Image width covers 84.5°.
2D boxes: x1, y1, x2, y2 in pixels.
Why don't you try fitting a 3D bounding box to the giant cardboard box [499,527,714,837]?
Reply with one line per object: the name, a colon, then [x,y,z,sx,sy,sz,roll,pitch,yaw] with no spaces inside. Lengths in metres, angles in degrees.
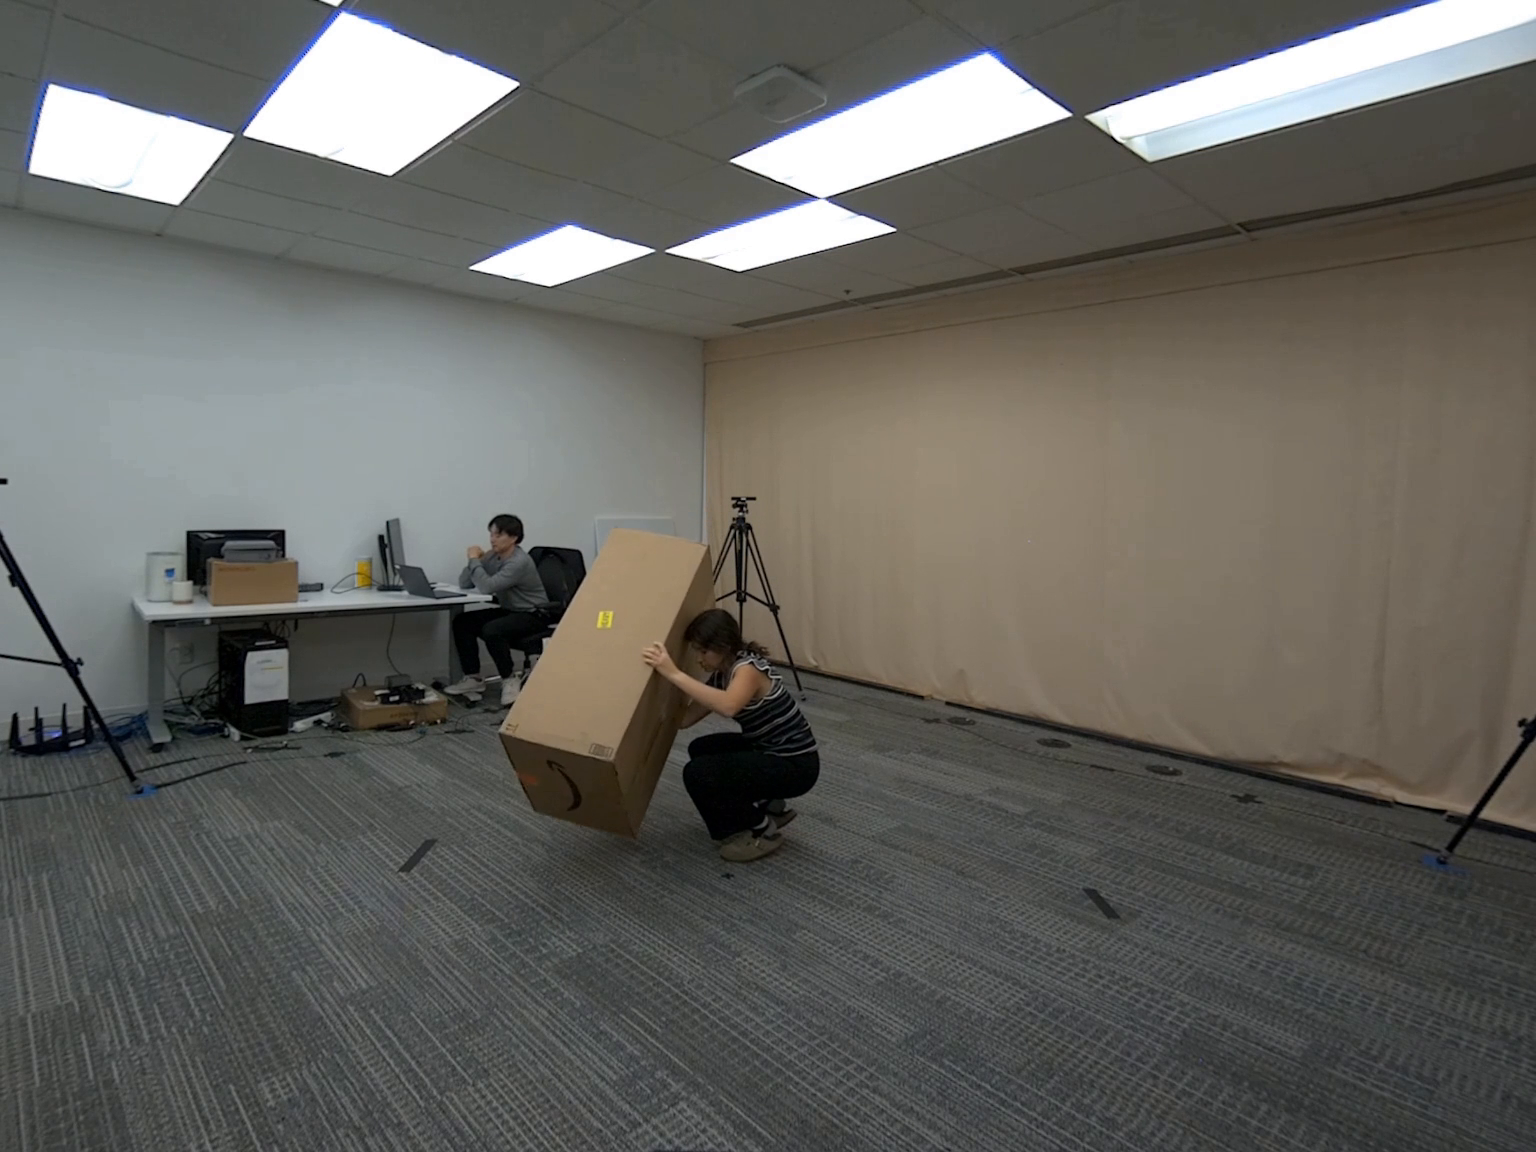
giant cardboard box: [-0.576,0.390,3.322,0.431,0.564,1.037,11,49,12]
